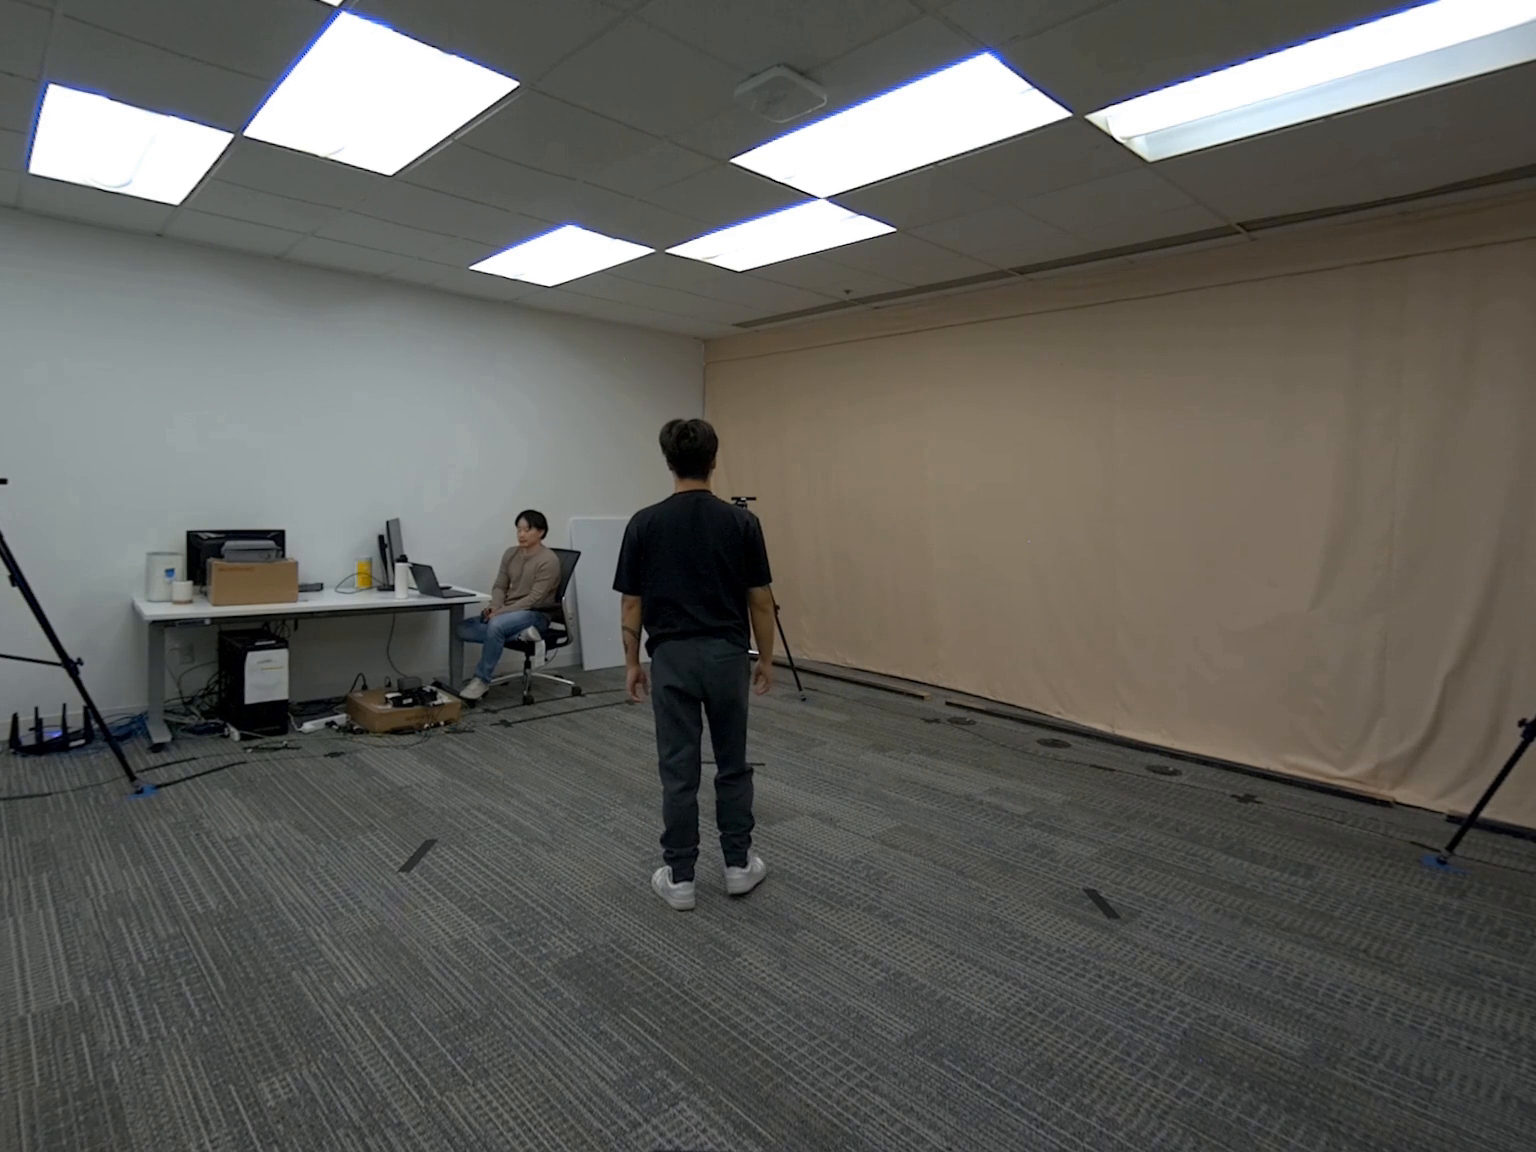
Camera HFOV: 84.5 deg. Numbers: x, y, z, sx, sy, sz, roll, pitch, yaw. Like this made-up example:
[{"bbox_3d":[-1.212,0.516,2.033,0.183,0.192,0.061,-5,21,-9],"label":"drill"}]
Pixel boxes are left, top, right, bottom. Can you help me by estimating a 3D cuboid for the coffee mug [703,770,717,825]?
[{"bbox_3d":[-0.198,0.960,3.693,0.090,0.202,0.119,11,6,43],"label":"coffee mug"}]
